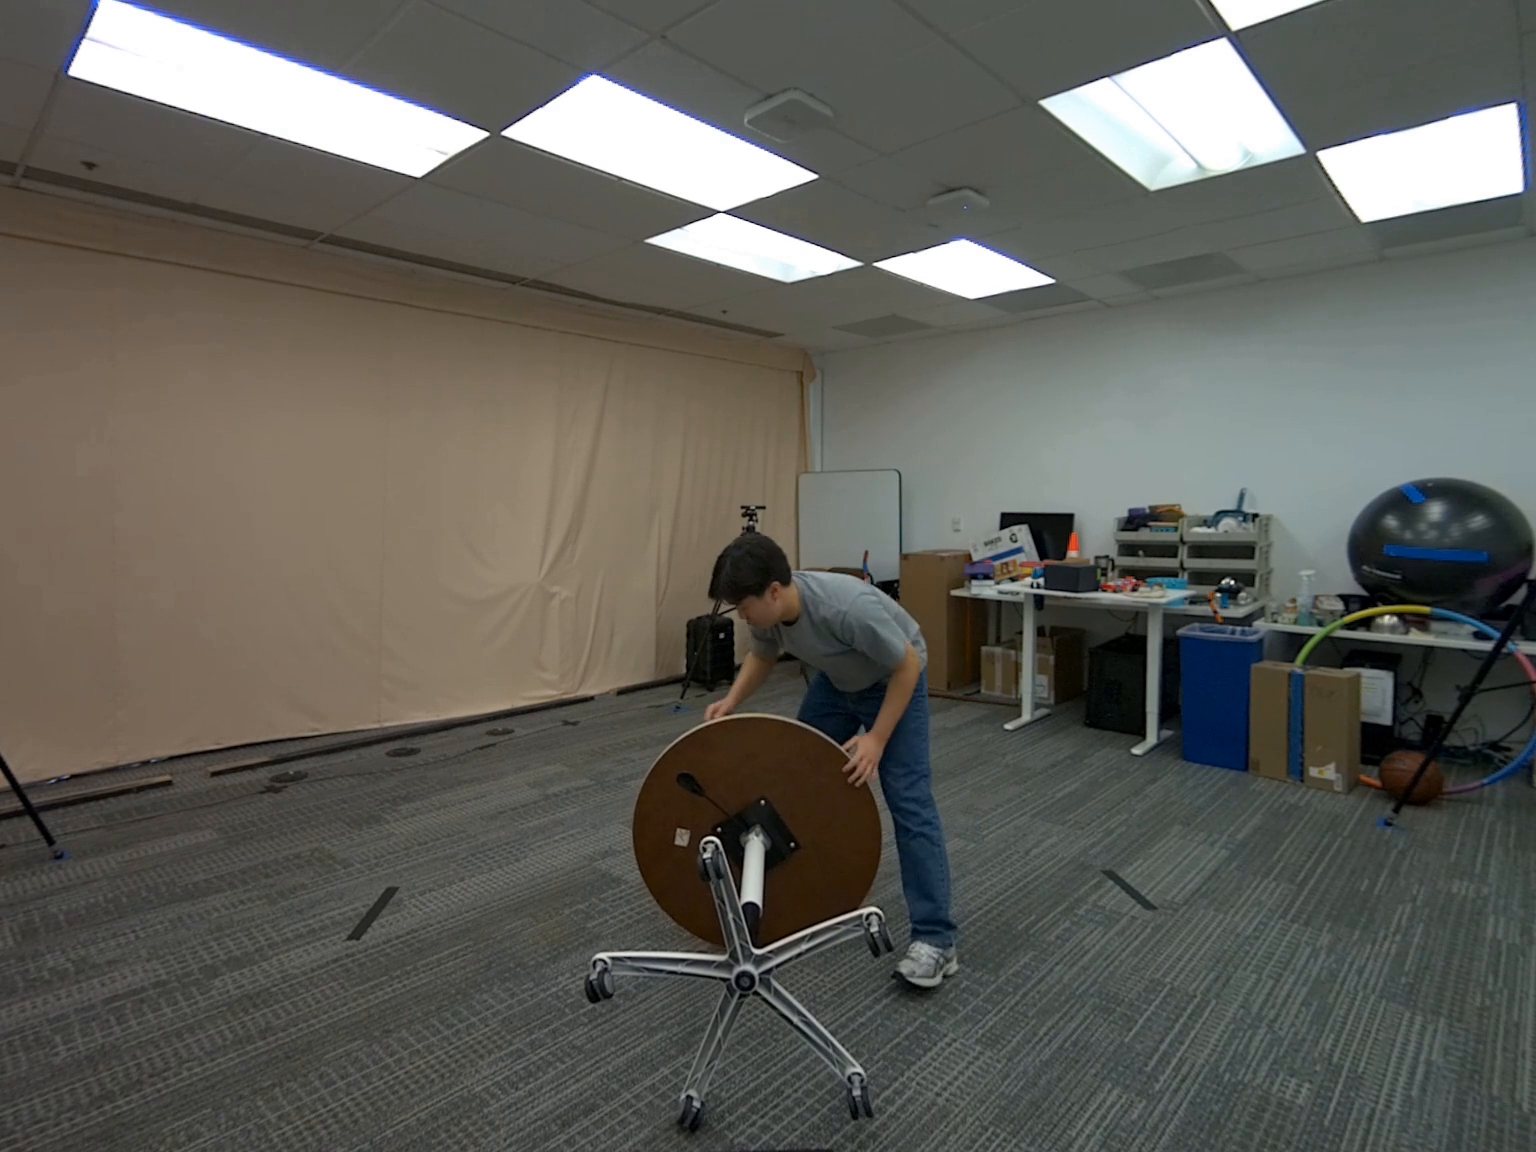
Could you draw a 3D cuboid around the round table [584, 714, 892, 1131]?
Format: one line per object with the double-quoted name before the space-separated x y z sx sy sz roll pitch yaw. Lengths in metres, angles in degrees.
"round table" -0.041 0.864 2.199 0.767 0.760 0.795 0 8 2
